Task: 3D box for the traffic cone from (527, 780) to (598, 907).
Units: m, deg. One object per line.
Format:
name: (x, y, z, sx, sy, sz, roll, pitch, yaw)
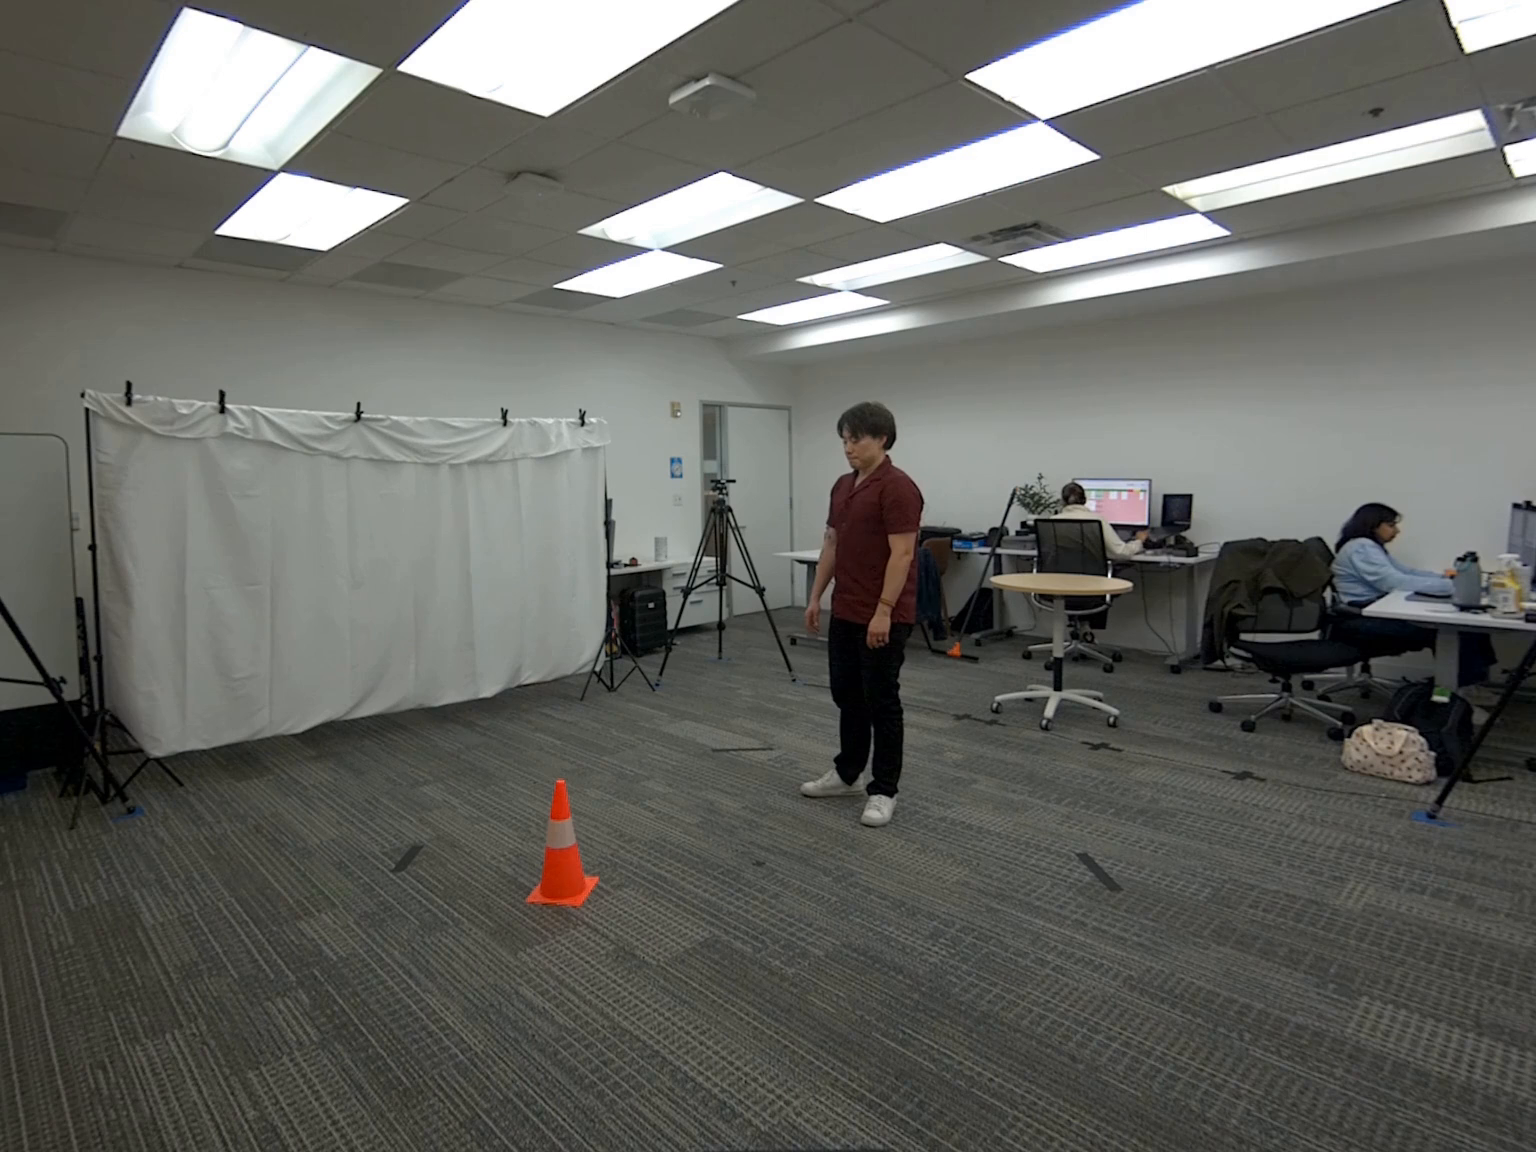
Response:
traffic cone: (-0.713, 0.896, 2.921, 0.206, 0.382, 0.203, -1, 5, 13)
